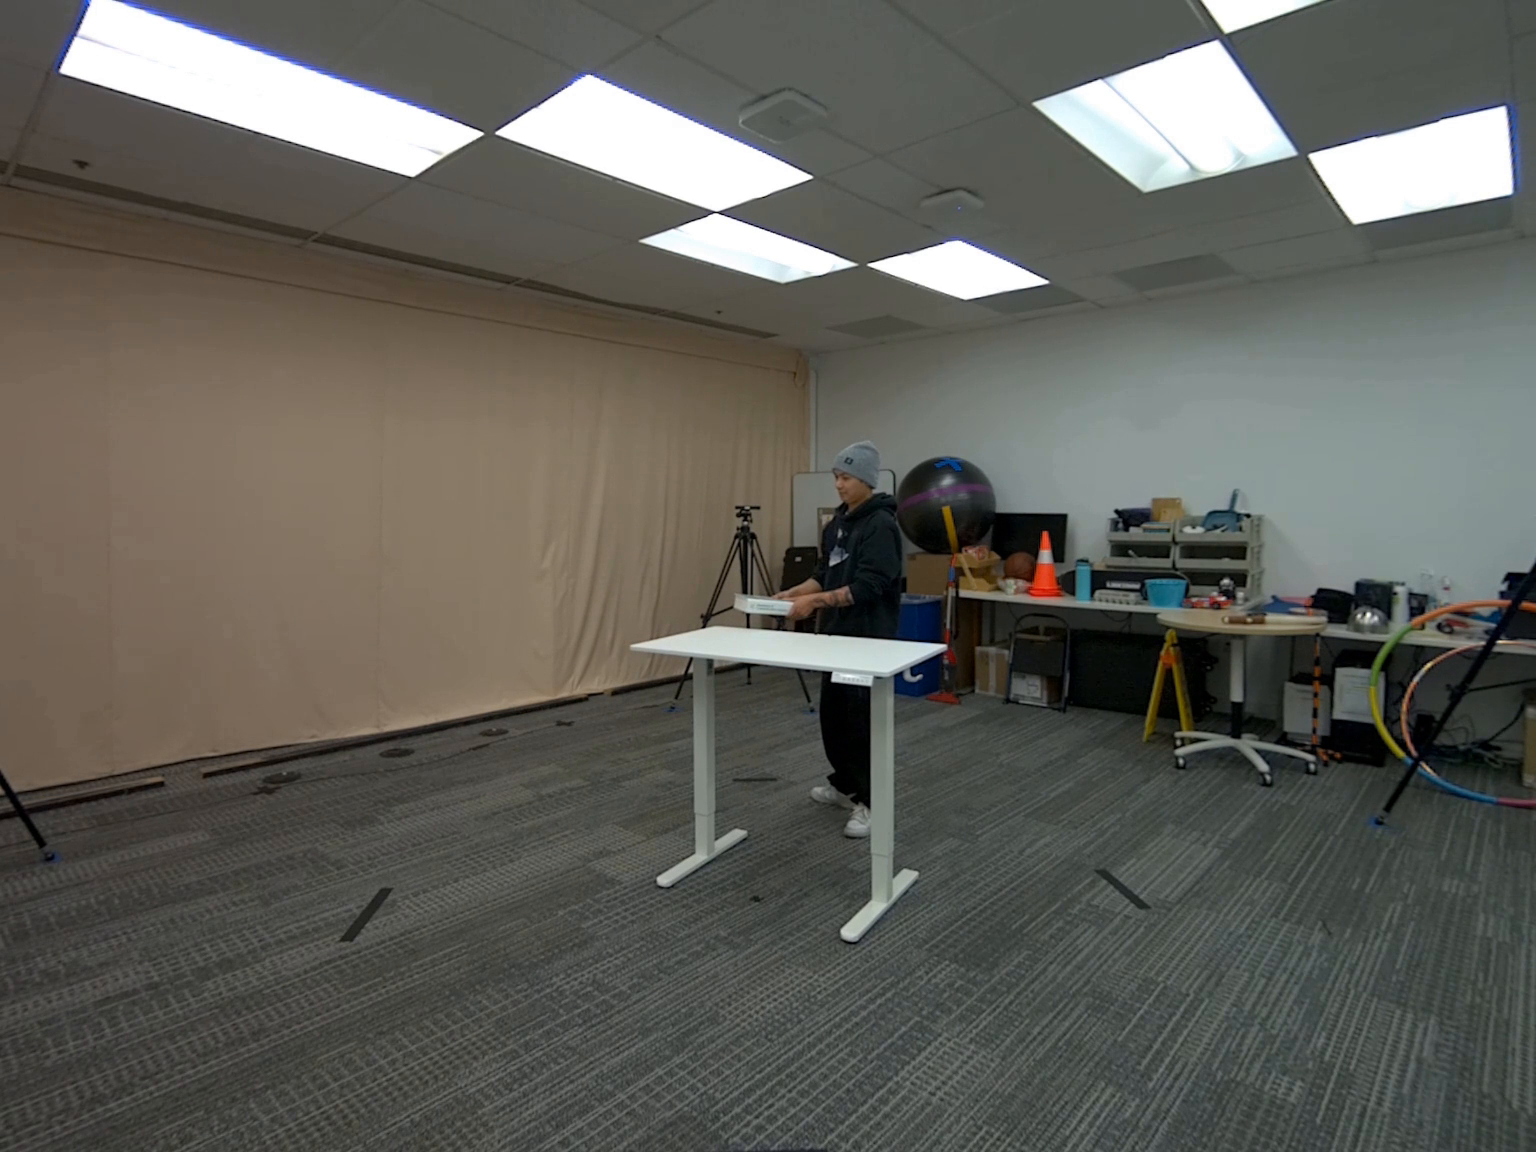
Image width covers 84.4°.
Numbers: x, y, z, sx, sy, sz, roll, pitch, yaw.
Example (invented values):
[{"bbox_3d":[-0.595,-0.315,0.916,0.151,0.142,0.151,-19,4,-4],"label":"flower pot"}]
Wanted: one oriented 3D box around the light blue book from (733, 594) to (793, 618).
[{"bbox_3d":[0.030,0.132,3.641,0.259,0.059,0.193,6,4,-7],"label":"light blue book"}]
